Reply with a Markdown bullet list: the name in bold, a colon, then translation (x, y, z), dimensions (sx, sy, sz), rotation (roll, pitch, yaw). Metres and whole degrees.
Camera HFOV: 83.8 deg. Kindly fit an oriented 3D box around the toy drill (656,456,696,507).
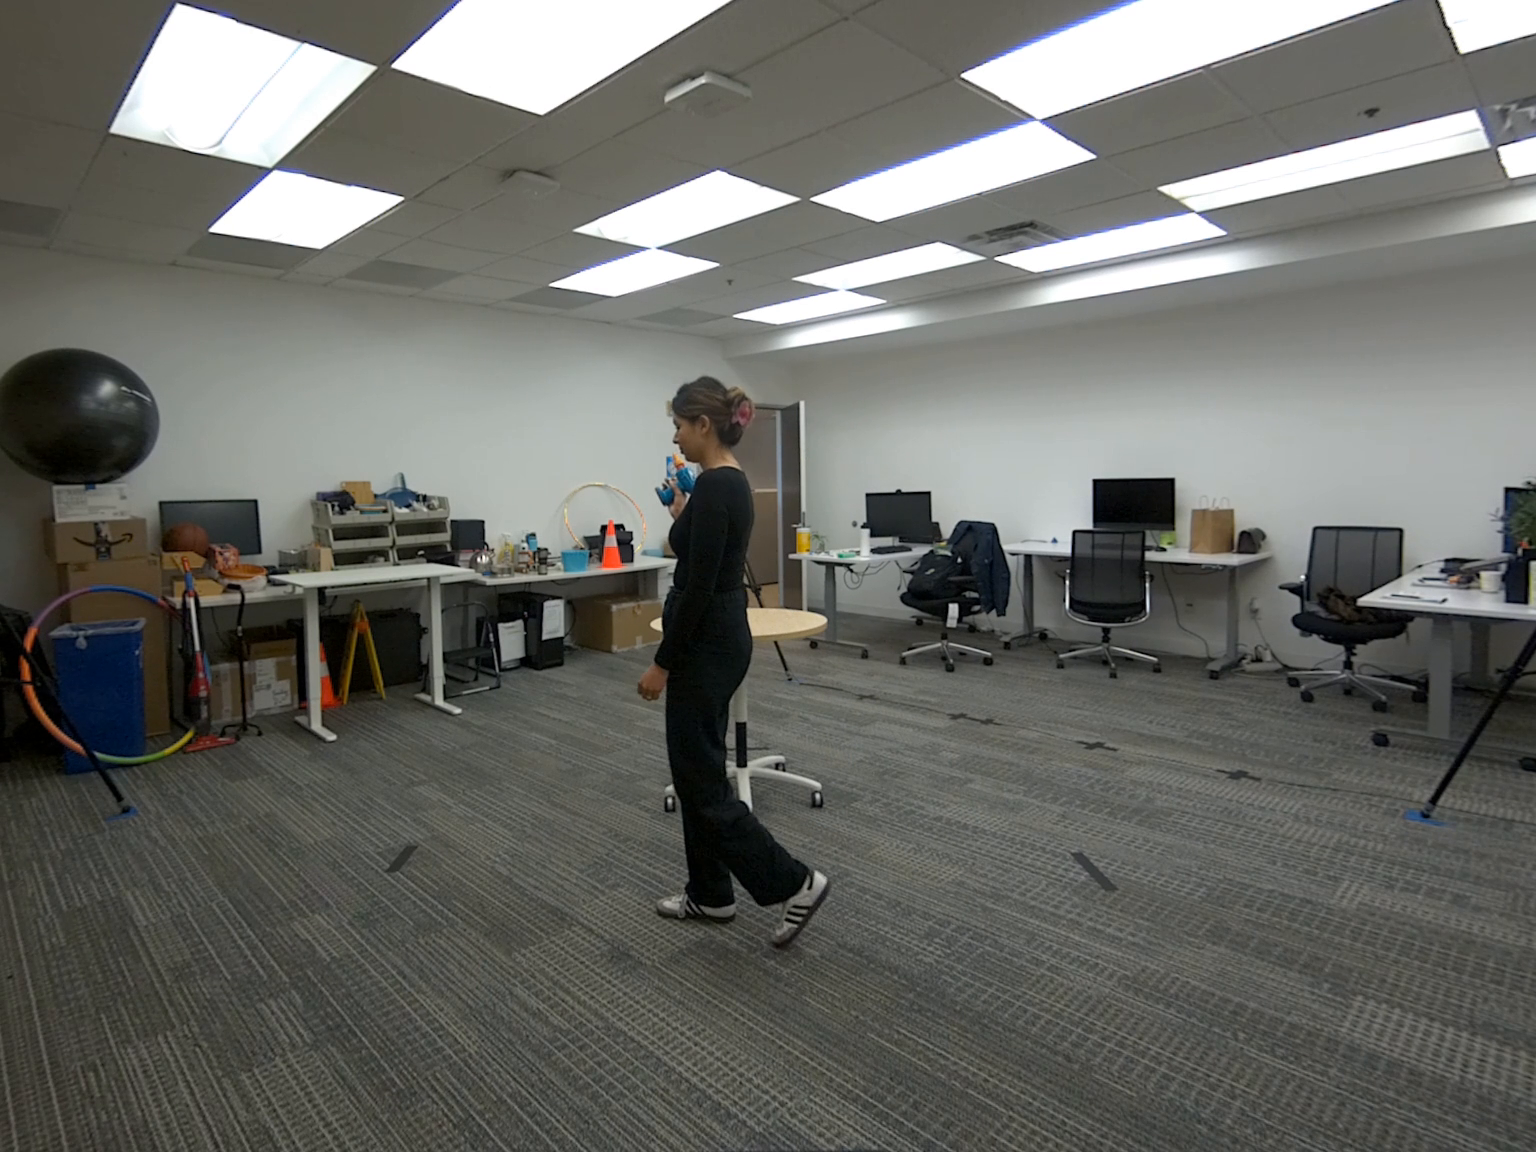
- **toy drill**: translation (-0.320, -0.339, 2.952), dimensions (0.146, 0.172, 0.060), rotation (-25, -12, 5)
